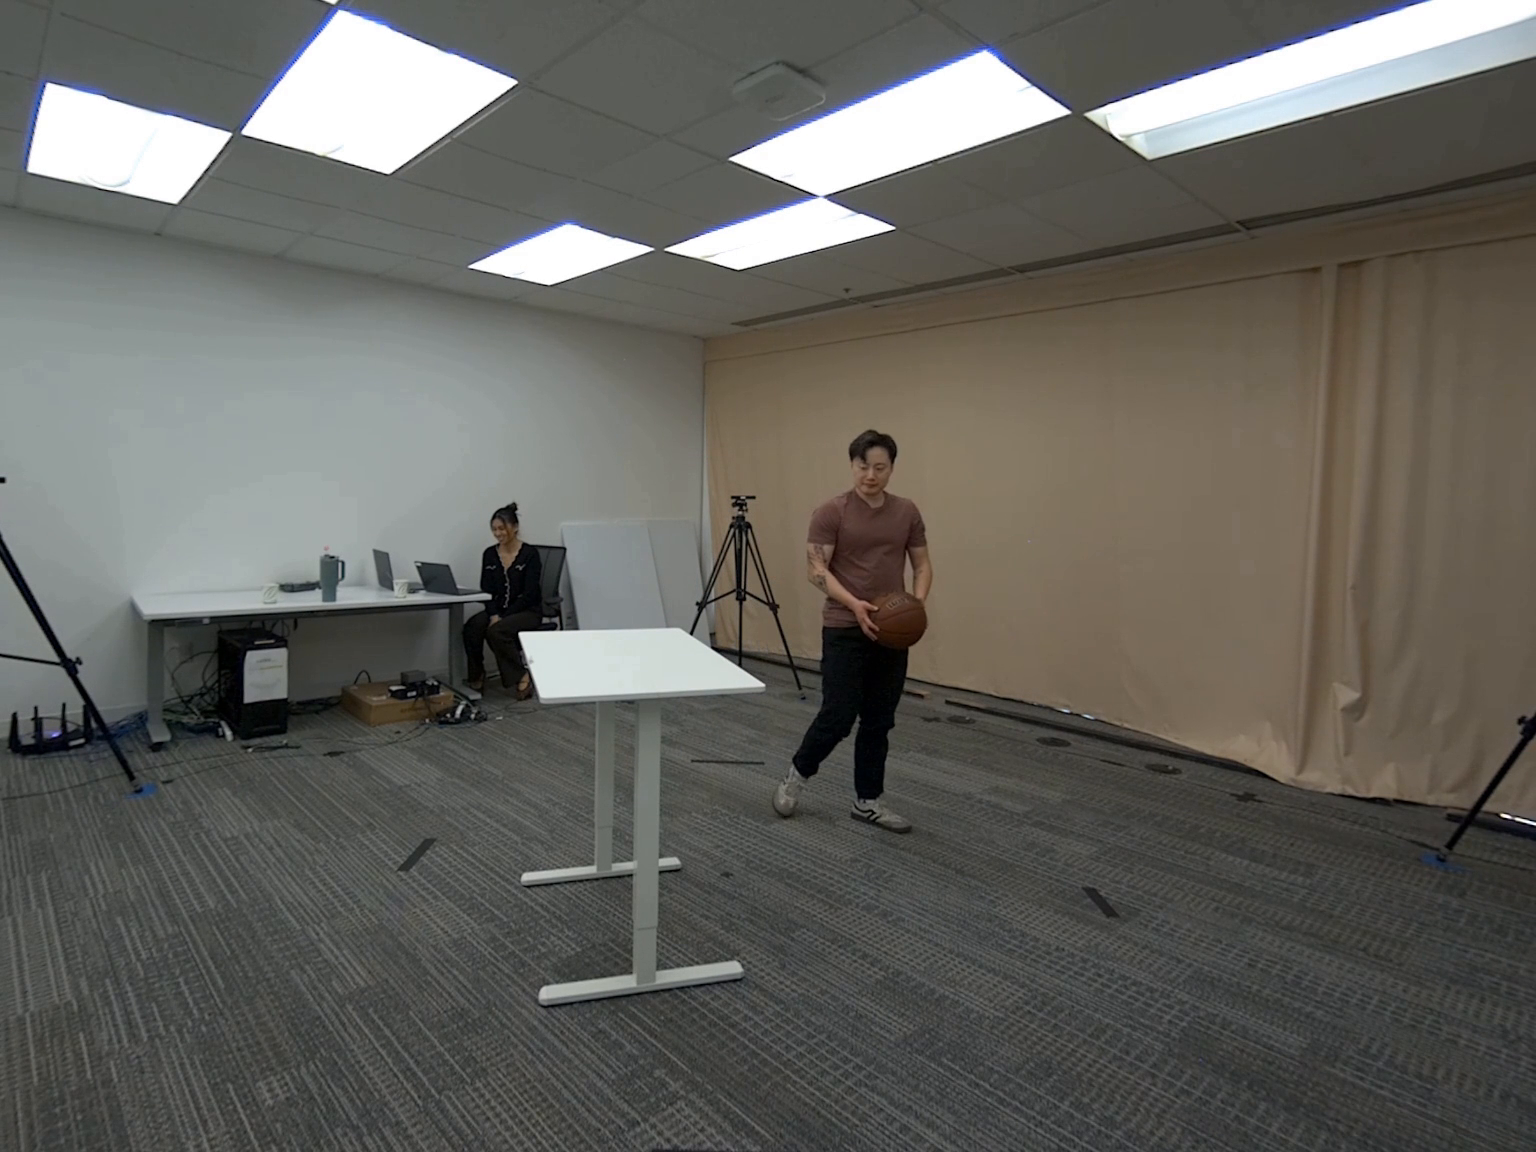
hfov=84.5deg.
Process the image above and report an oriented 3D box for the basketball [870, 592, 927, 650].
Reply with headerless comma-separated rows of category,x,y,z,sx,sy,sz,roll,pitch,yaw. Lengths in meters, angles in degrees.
basketball,0.478,0.169,3.354,0.236,0.235,0.237,1,4,-1
